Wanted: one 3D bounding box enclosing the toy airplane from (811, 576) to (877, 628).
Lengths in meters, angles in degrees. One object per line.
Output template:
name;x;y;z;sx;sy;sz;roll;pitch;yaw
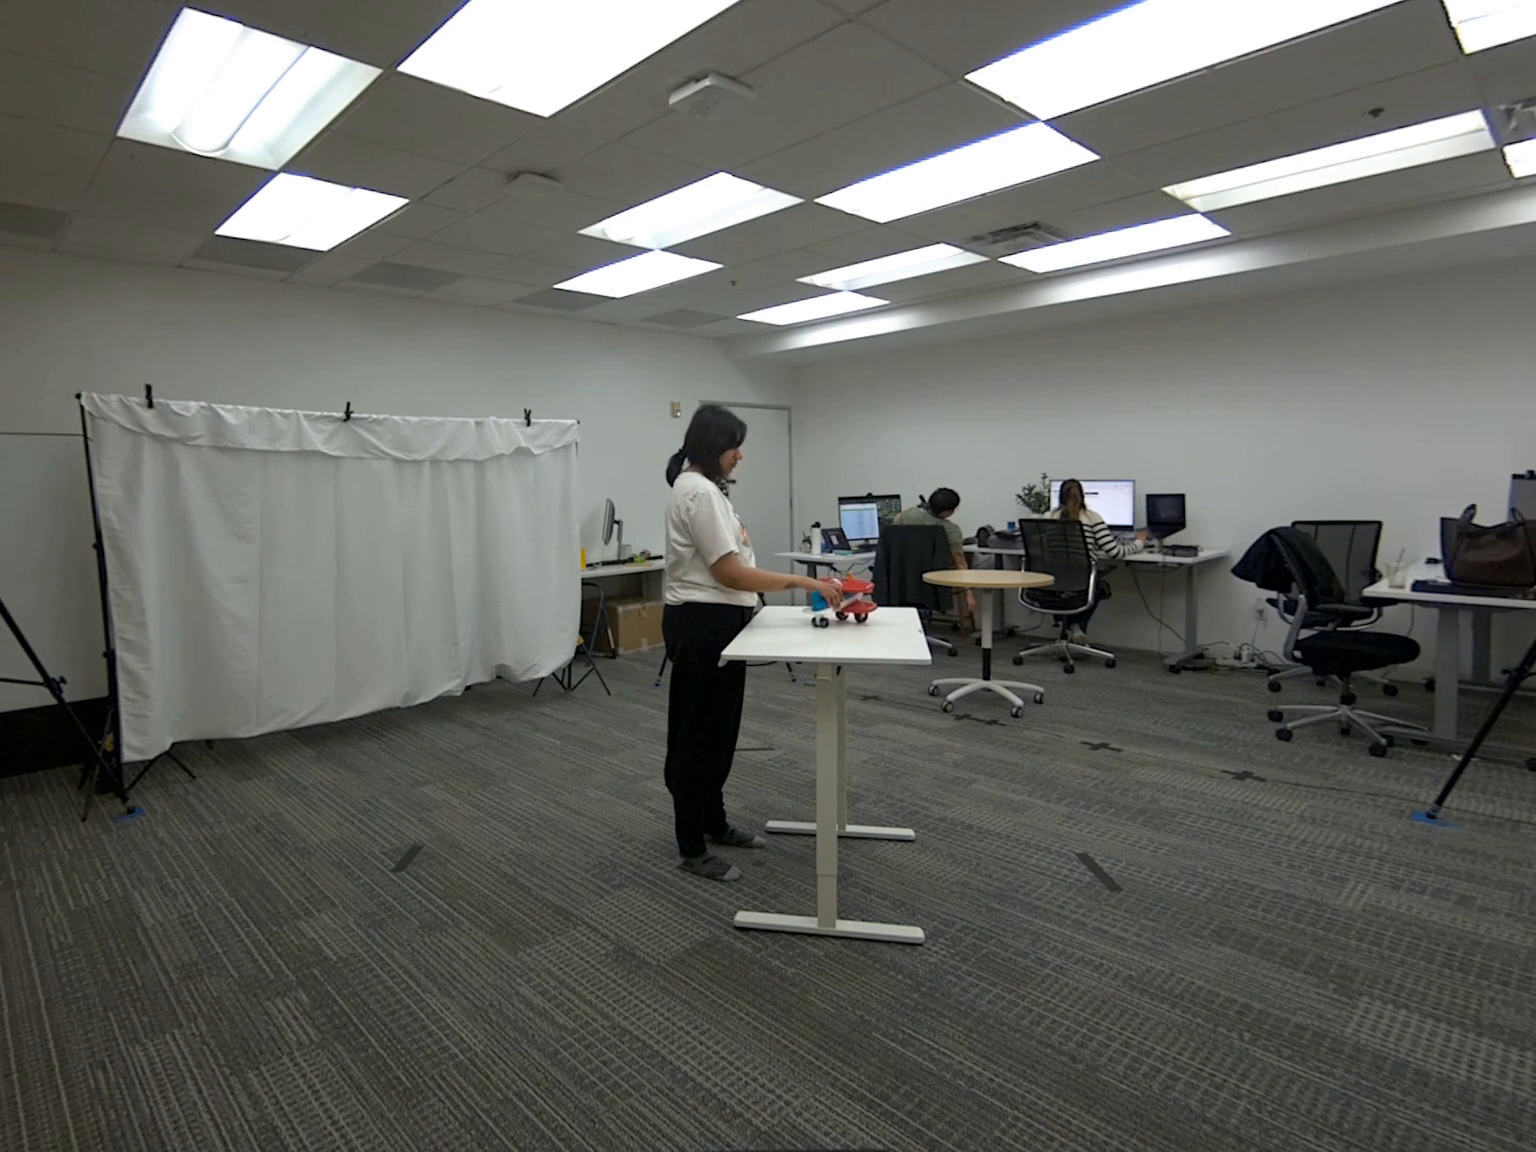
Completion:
toy airplane;0.258;0.094;3.008;0.255;0.156;0.256;2;5;17
